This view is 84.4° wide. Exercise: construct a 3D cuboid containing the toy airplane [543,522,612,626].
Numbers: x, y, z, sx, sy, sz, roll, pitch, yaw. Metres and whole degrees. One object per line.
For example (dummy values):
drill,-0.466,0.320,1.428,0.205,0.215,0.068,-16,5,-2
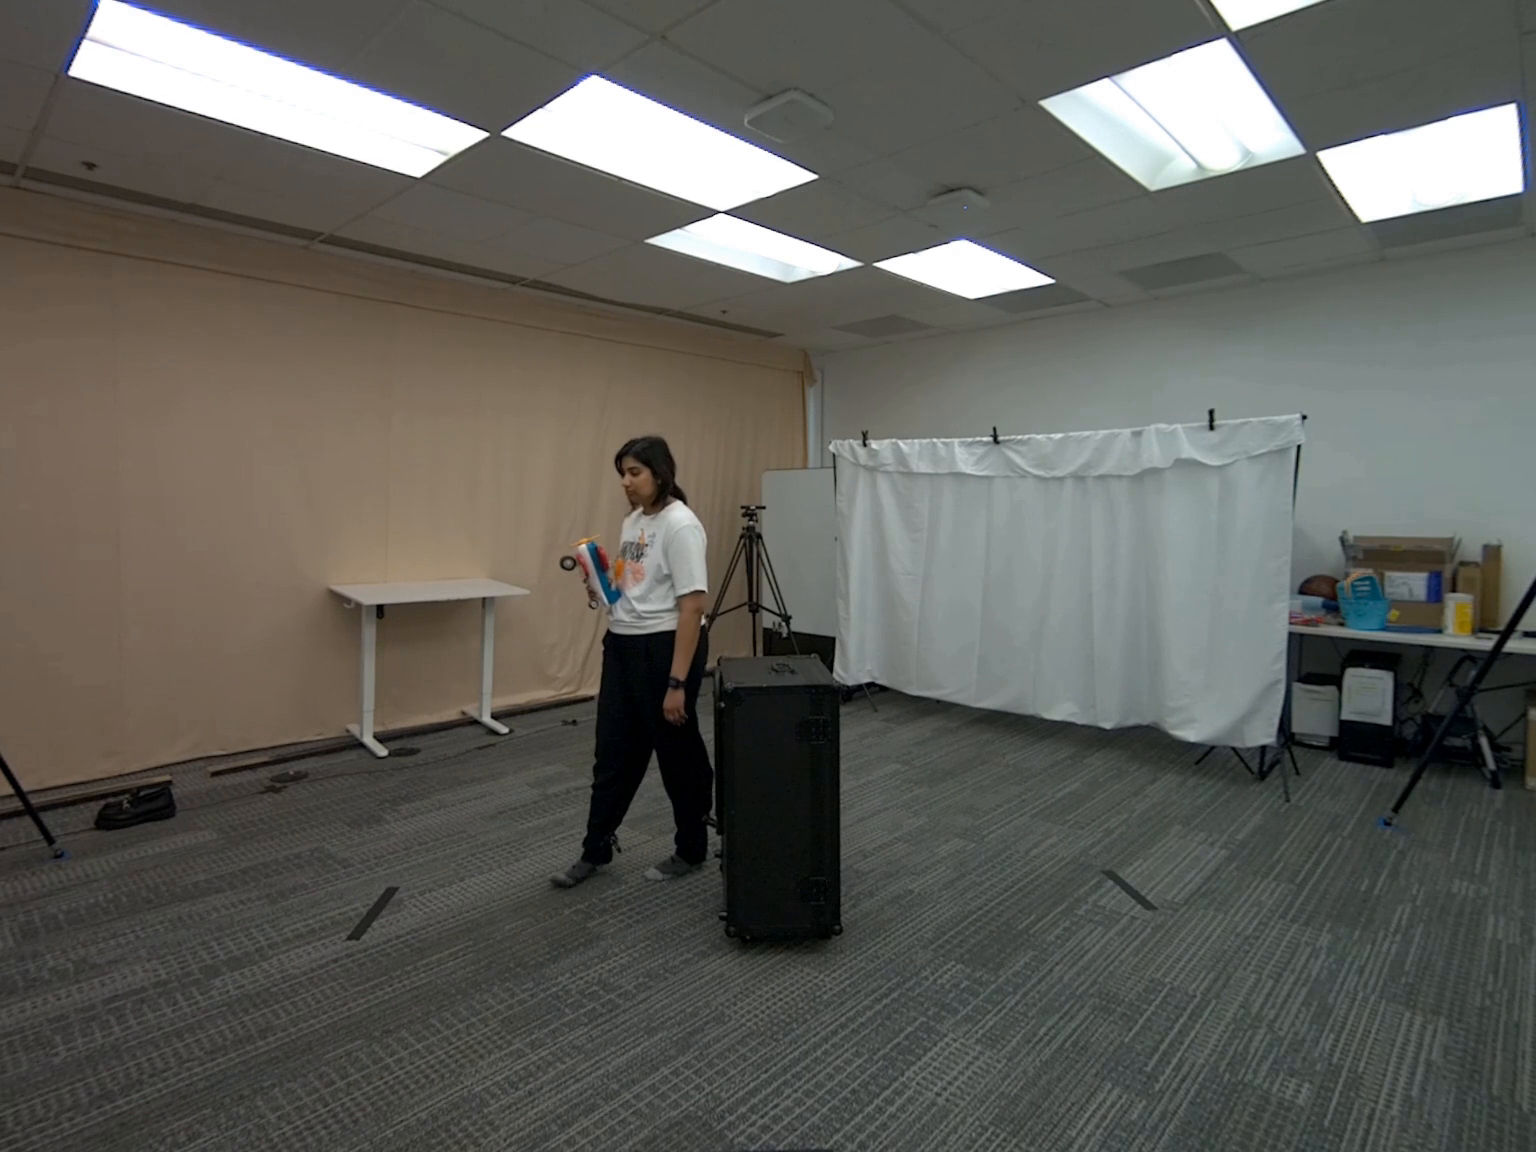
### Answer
toy airplane,-0.650,-0.013,3.078,0.155,0.252,0.260,-34,36,-15
